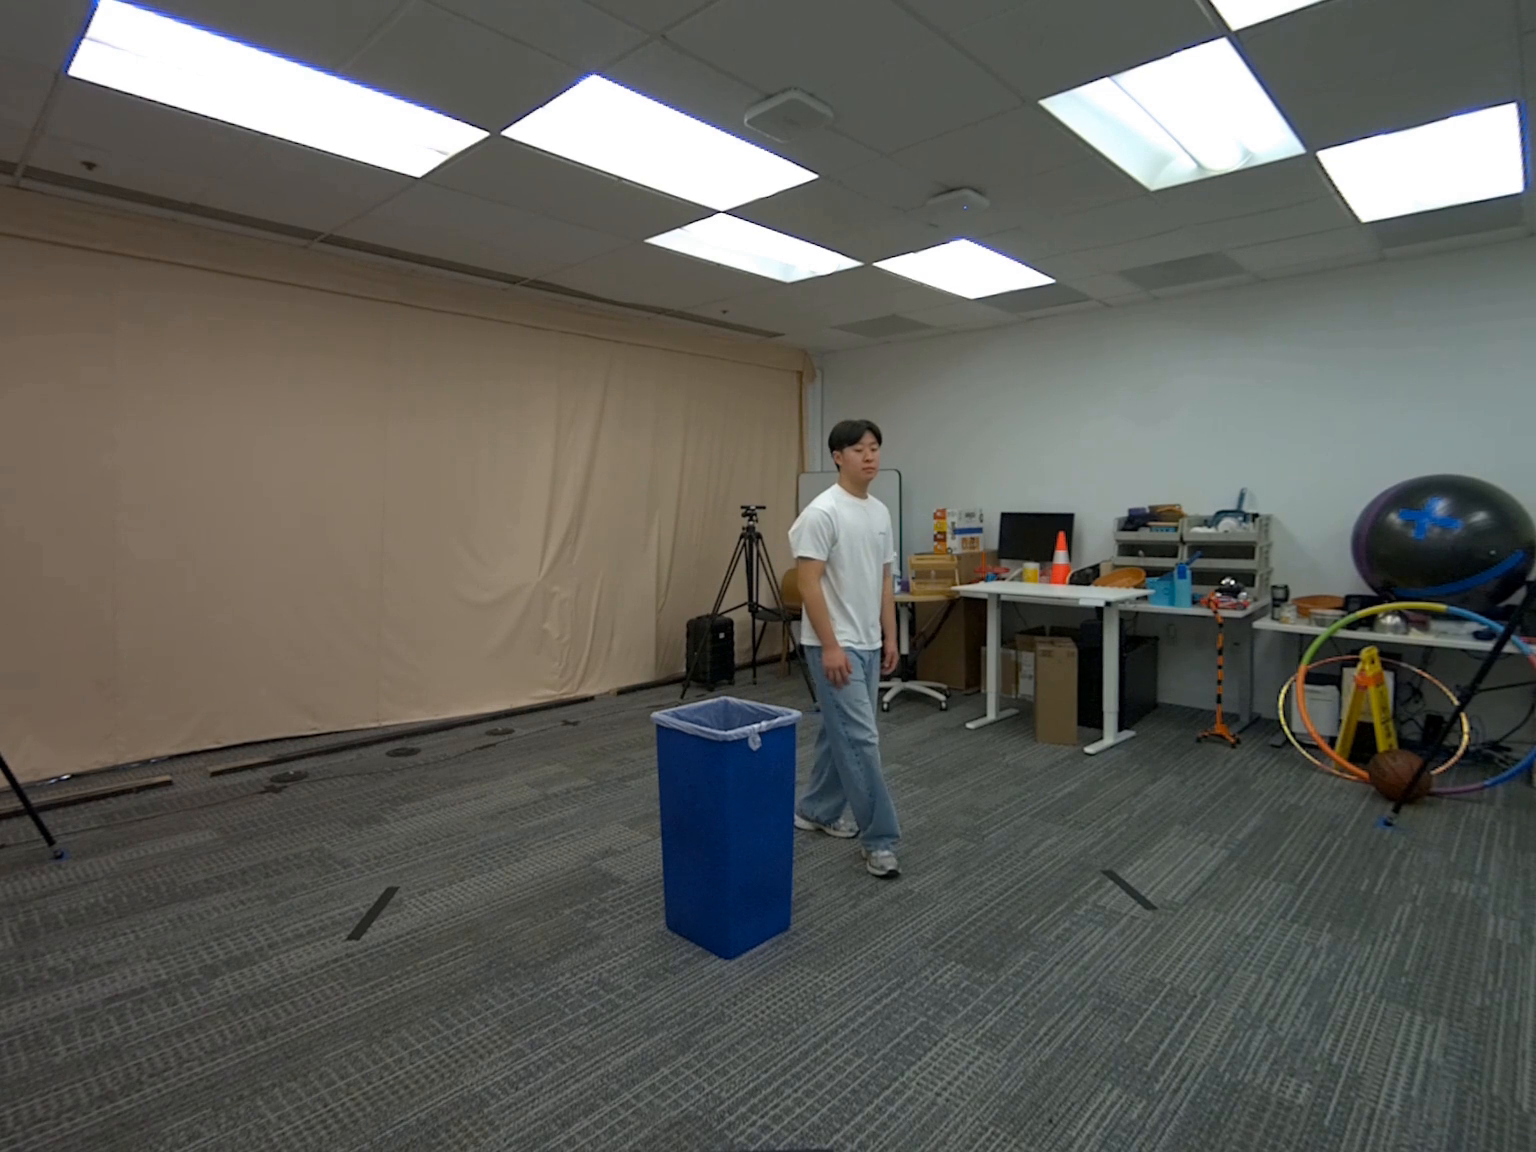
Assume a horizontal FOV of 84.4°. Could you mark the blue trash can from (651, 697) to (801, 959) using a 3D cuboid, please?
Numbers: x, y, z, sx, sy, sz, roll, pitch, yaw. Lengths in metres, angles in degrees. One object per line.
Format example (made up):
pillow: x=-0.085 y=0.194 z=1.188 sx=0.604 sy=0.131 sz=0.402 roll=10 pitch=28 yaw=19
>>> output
blue trash can: x=-0.139 y=0.804 z=2.767 sx=0.386 sy=0.712 sz=0.366 roll=3 pitch=4 yaw=44
